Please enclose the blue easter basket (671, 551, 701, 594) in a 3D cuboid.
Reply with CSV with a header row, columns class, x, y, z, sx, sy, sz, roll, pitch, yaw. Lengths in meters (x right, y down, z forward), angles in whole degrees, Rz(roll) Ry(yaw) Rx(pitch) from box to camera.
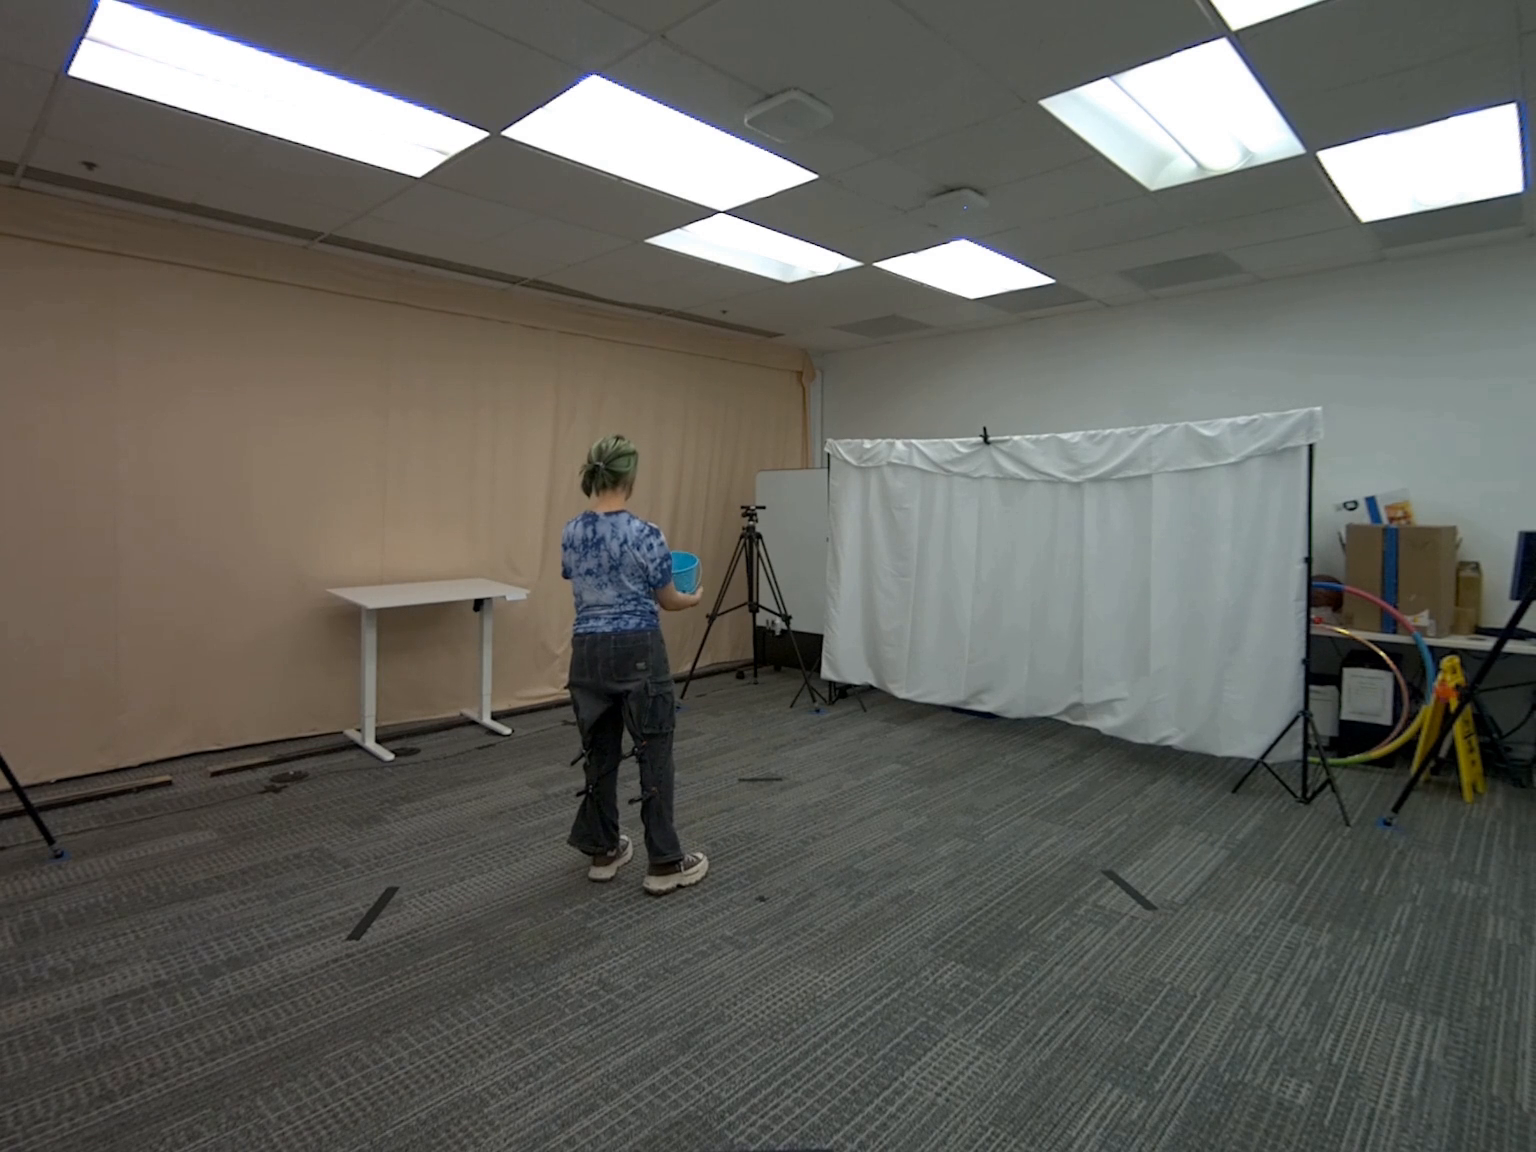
class,x,y,z,sx,sy,sz,roll,pitch,yaw
blue easter basket,-0.406,0.010,3.466,0.244,0.154,0.246,-4,19,-1
